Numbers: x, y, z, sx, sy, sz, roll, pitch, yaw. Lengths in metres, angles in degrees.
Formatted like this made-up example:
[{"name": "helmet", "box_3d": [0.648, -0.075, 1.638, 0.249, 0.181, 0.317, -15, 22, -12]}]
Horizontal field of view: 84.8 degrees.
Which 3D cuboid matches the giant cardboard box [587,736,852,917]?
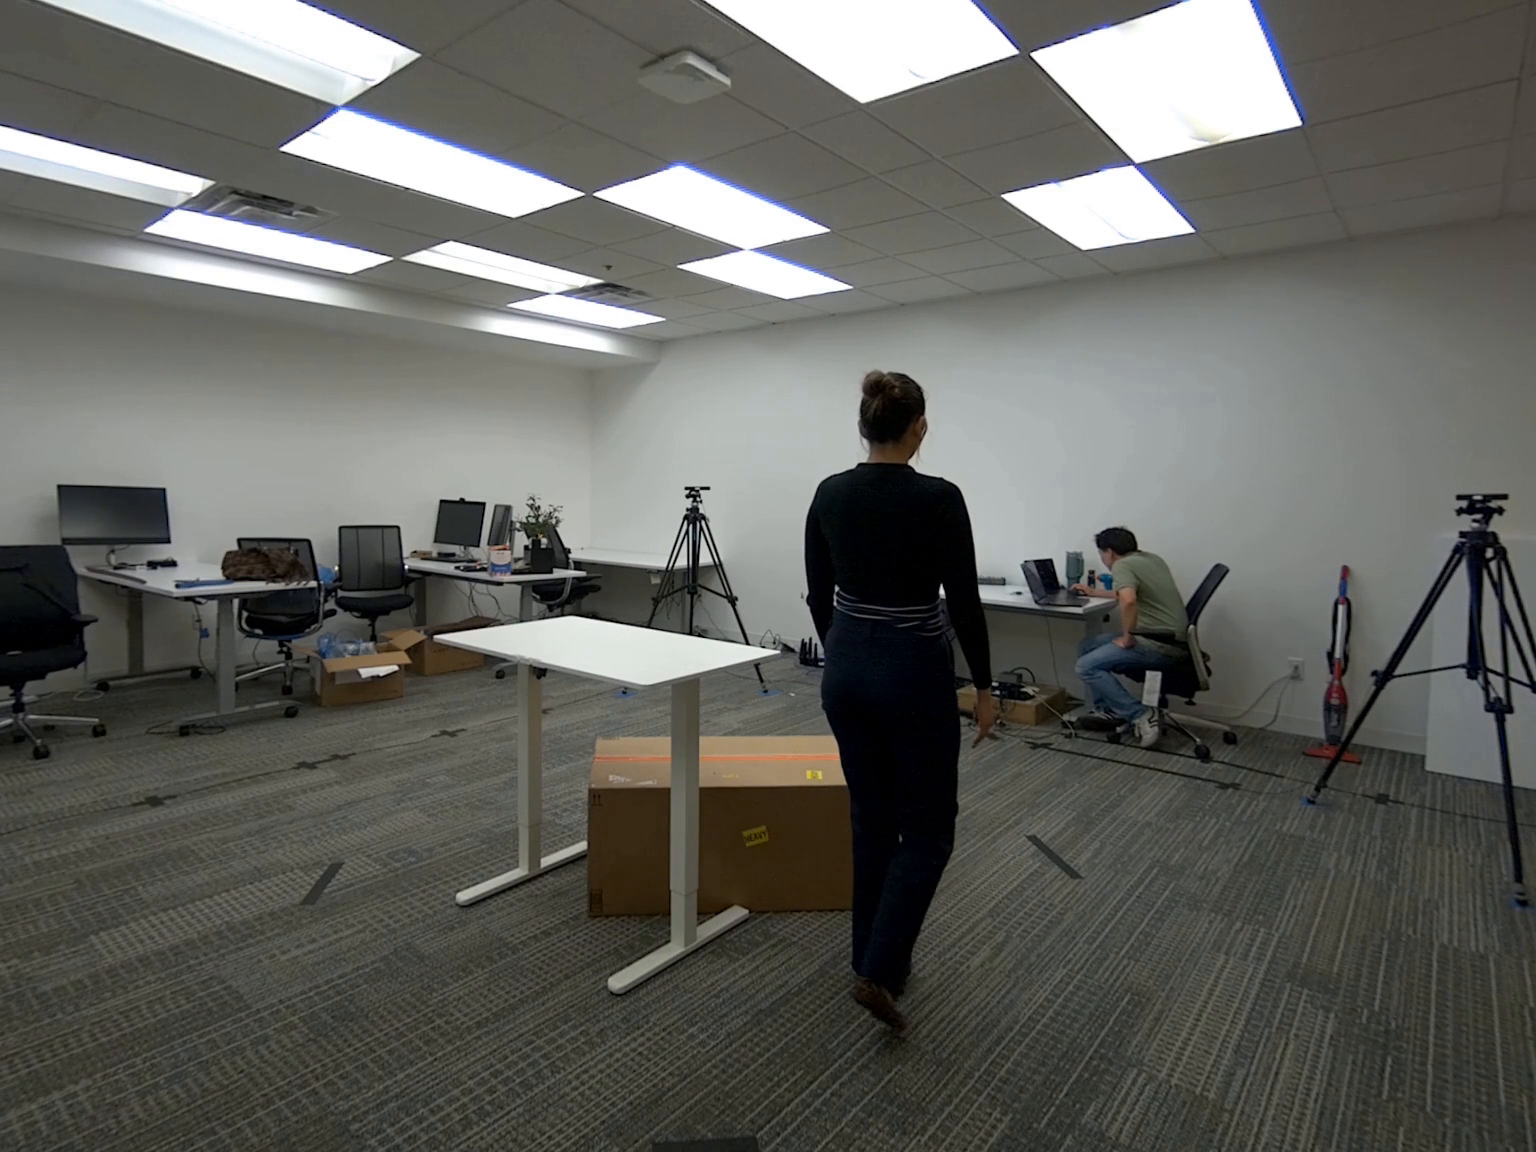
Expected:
[{"name": "giant cardboard box", "box_3d": [-0.128, 0.857, 3.055, 1.020, 0.424, 0.584, 0, 5, -6]}]
